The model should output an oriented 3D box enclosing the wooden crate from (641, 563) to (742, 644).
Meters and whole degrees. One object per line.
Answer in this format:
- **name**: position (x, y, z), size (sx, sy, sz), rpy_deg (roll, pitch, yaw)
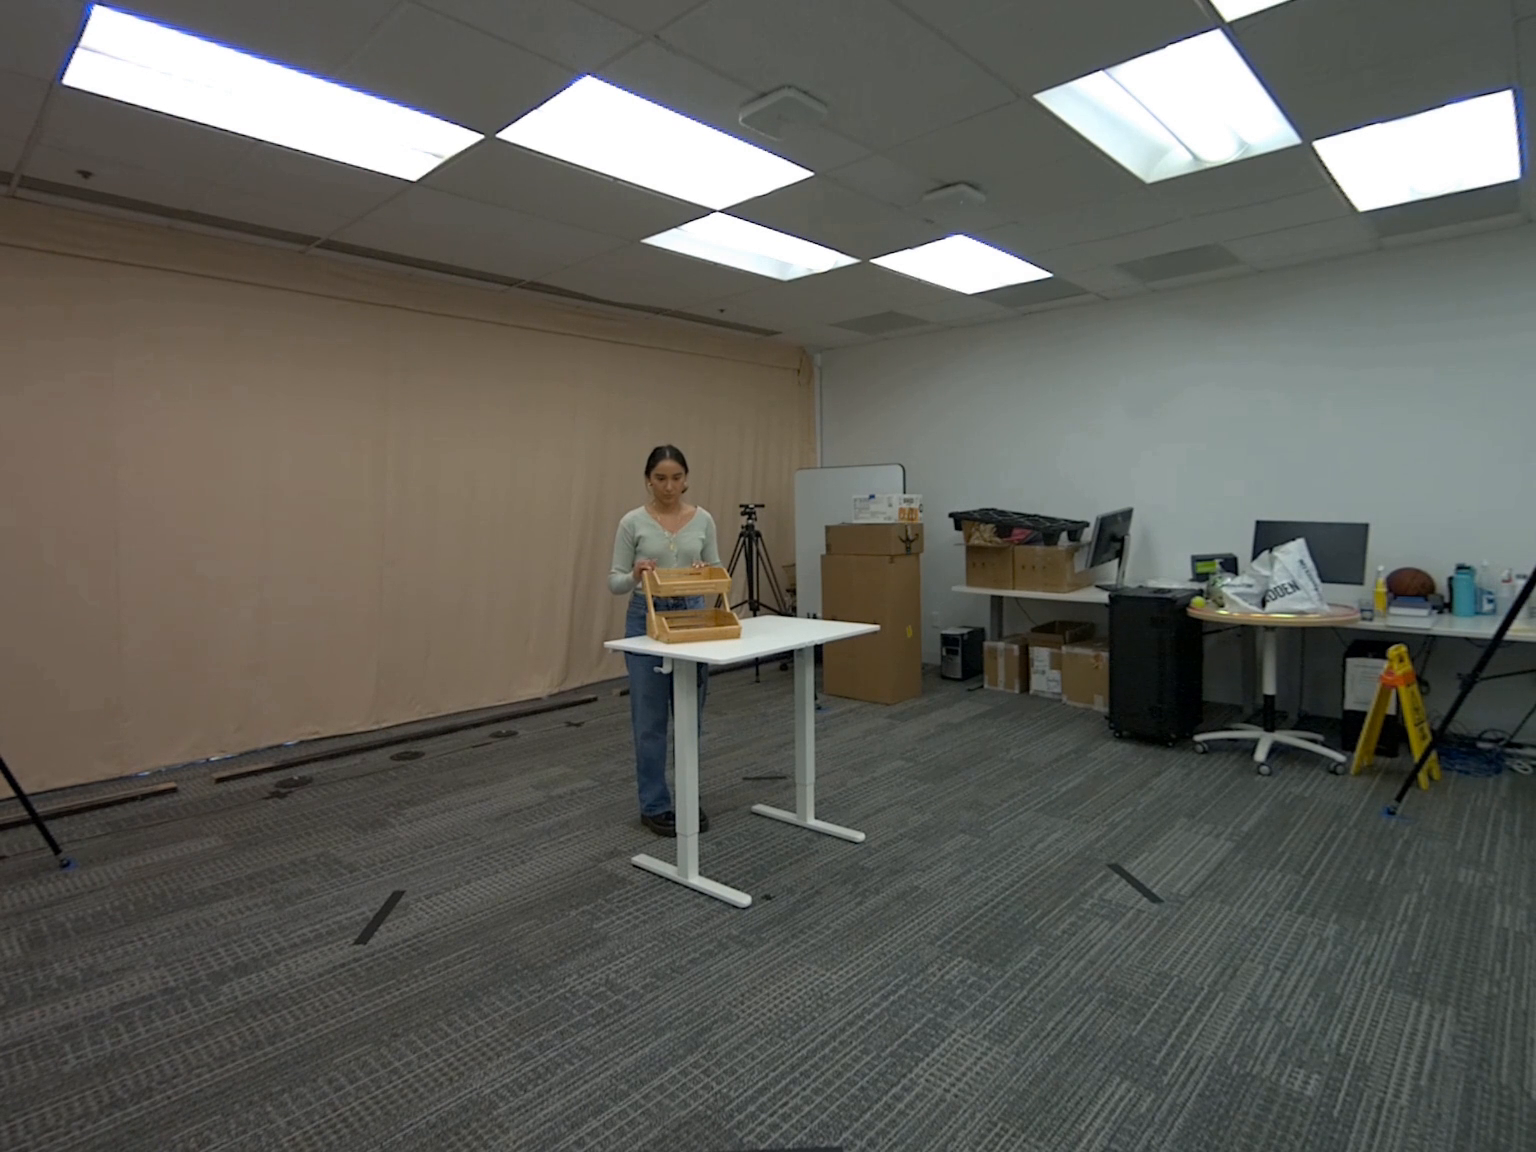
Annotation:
- **wooden crate**: position (-0.300, 0.102, 3.282), size (0.317, 0.273, 0.309), rpy_deg (-2, 3, -24)
